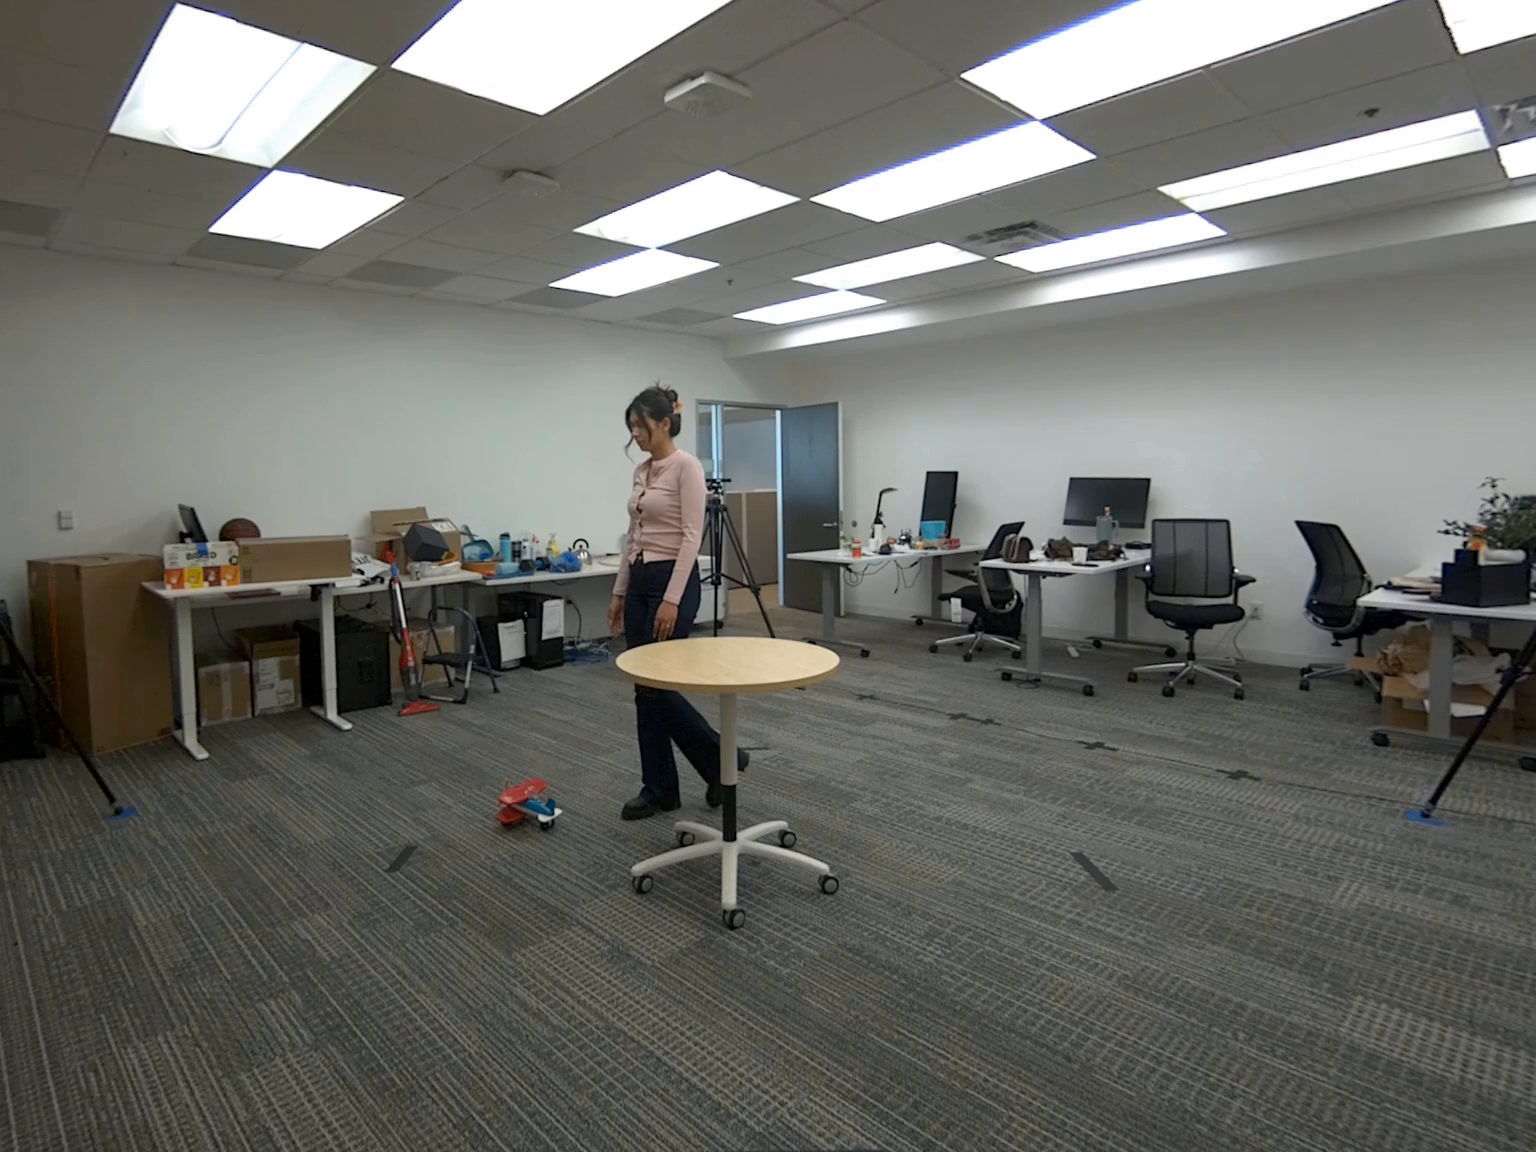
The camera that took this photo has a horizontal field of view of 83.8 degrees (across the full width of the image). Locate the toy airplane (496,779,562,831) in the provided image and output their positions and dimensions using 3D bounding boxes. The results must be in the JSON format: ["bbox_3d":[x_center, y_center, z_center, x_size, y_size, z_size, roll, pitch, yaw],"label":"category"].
[{"bbox_3d":[-0.969,0.943,3.511,0.259,0.156,0.253,-2,5,-2],"label":"toy airplane"}]
